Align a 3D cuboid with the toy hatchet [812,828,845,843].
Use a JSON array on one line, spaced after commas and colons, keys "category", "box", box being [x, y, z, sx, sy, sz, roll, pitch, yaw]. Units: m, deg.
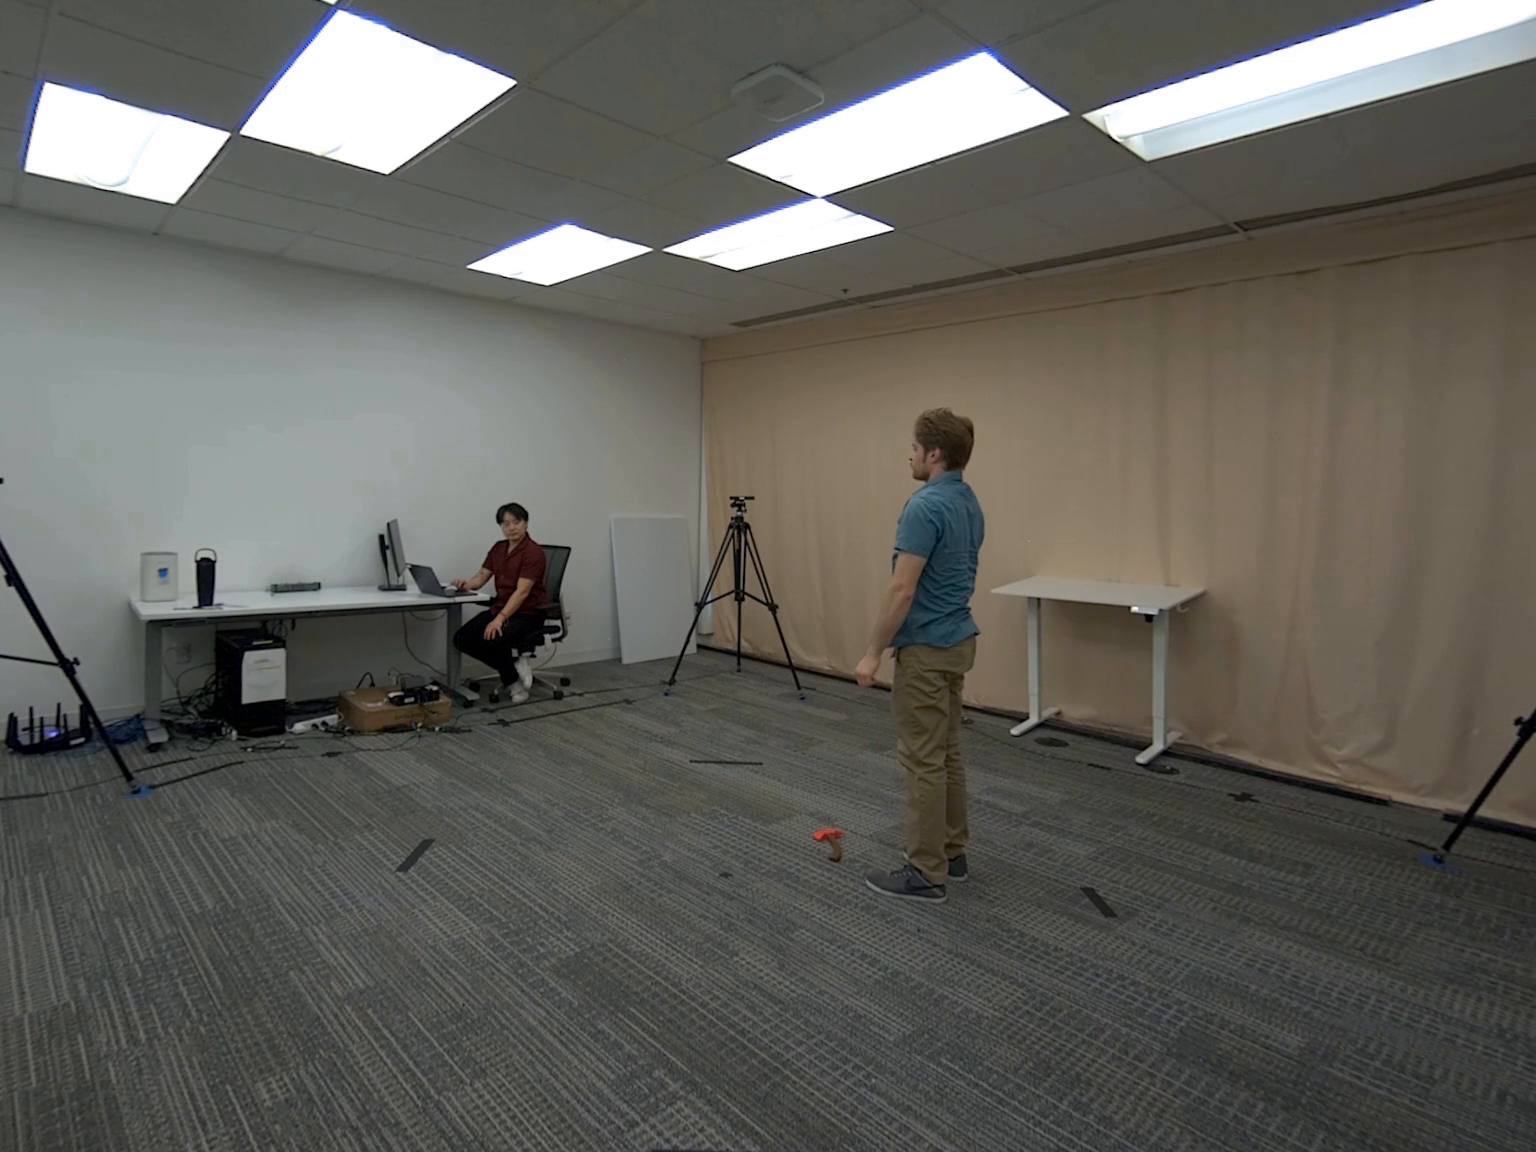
[{"category": "toy hatchet", "box": [0.228, 1.077, 3.373, 0.132, 0.029, 0.269, 2, 7, 10]}]
